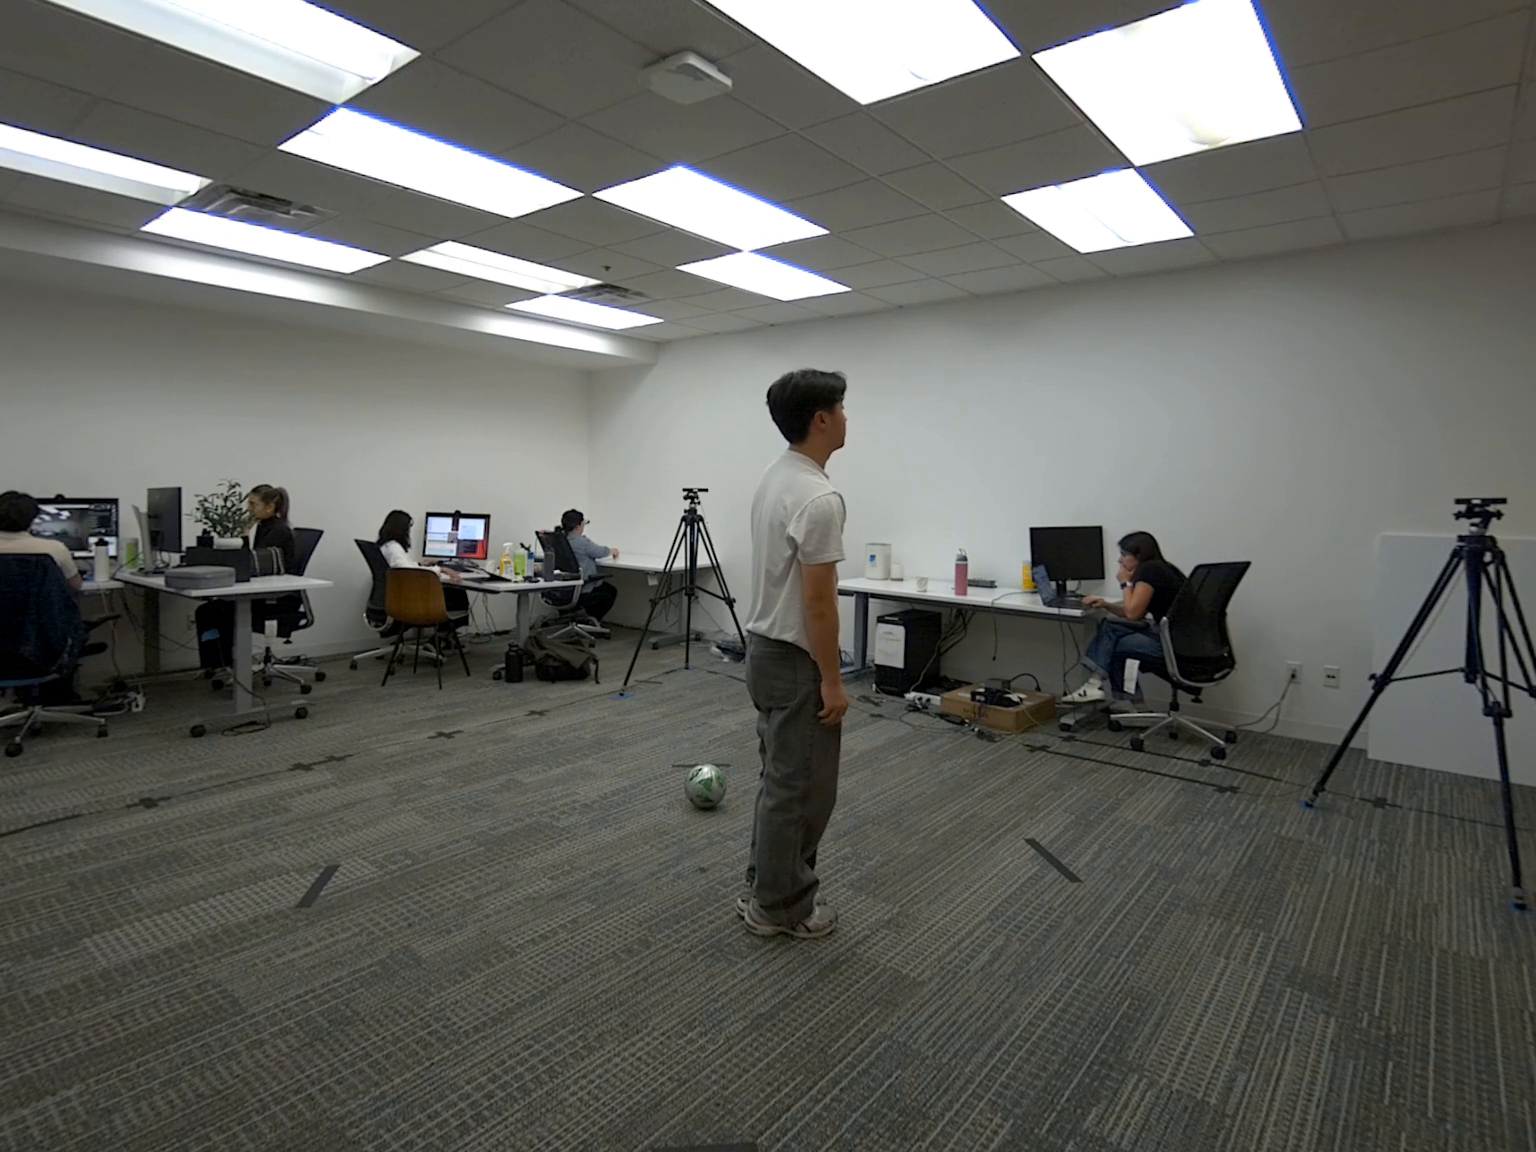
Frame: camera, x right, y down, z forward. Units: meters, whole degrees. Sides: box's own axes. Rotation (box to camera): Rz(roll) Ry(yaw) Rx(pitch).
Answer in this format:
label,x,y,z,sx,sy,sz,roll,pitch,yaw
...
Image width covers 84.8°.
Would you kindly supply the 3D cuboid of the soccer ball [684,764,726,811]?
label,x,y,z,sx,sy,sz,roll,pitch,yaw
soccer ball,-0.272,0.909,3.718,0.187,0.187,0.188,1,4,-2
